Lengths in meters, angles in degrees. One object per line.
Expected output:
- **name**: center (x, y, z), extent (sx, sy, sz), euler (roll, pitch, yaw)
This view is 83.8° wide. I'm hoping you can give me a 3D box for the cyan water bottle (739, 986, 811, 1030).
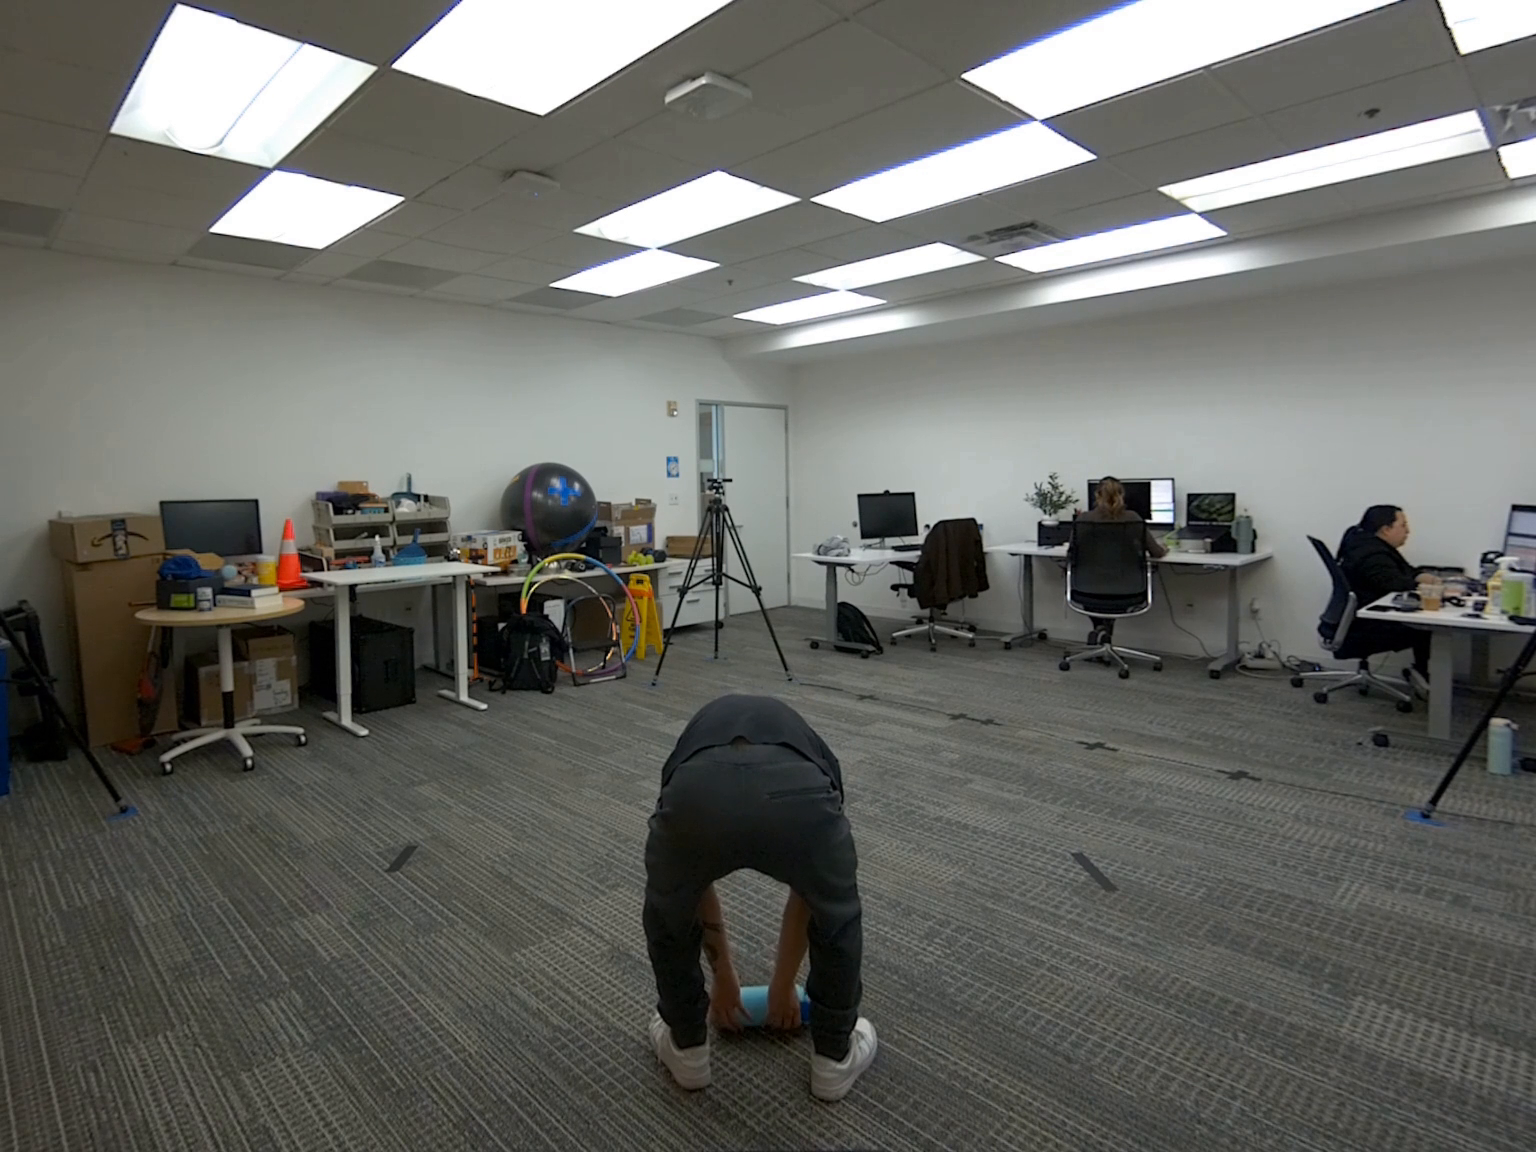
- **cyan water bottle**: center (0.018, 1.109, 2.193), extent (0.283, 0.092, 0.092), euler (-1, 5, 0)
